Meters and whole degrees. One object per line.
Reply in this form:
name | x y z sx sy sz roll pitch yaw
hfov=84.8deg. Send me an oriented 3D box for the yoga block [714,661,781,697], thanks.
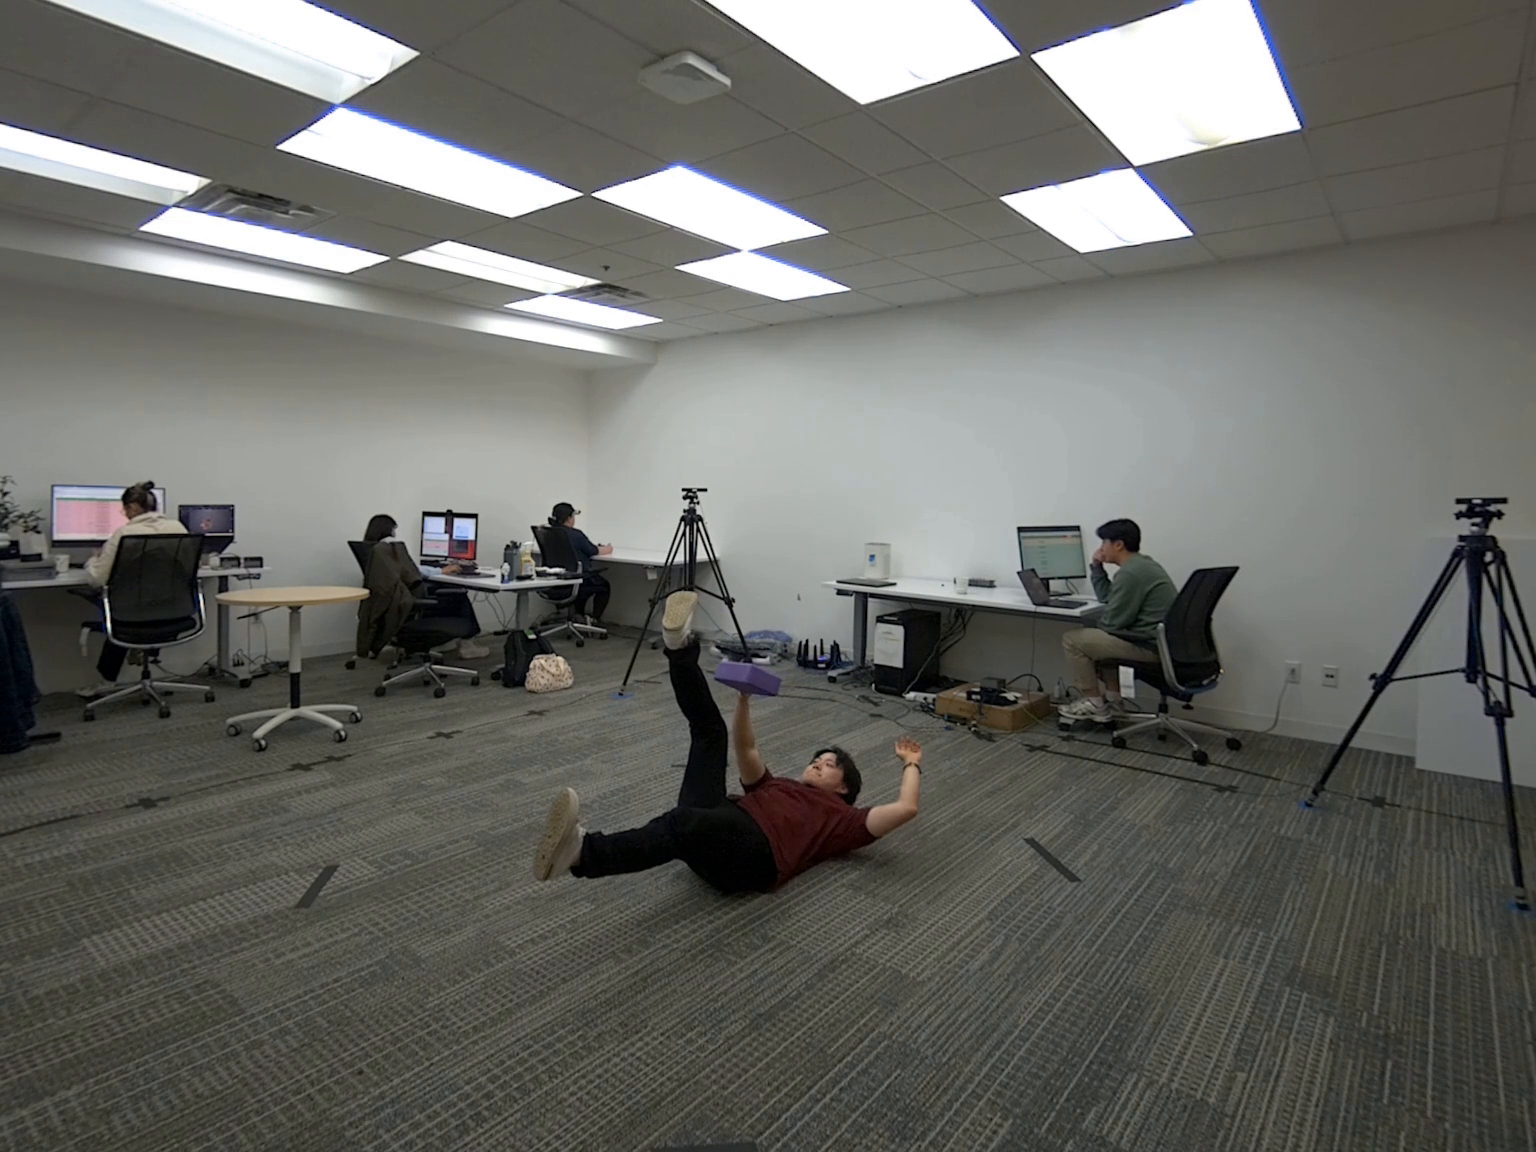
yoga block | -0.082 0.375 3.138 0.144 0.077 0.235 29 -18 -30
